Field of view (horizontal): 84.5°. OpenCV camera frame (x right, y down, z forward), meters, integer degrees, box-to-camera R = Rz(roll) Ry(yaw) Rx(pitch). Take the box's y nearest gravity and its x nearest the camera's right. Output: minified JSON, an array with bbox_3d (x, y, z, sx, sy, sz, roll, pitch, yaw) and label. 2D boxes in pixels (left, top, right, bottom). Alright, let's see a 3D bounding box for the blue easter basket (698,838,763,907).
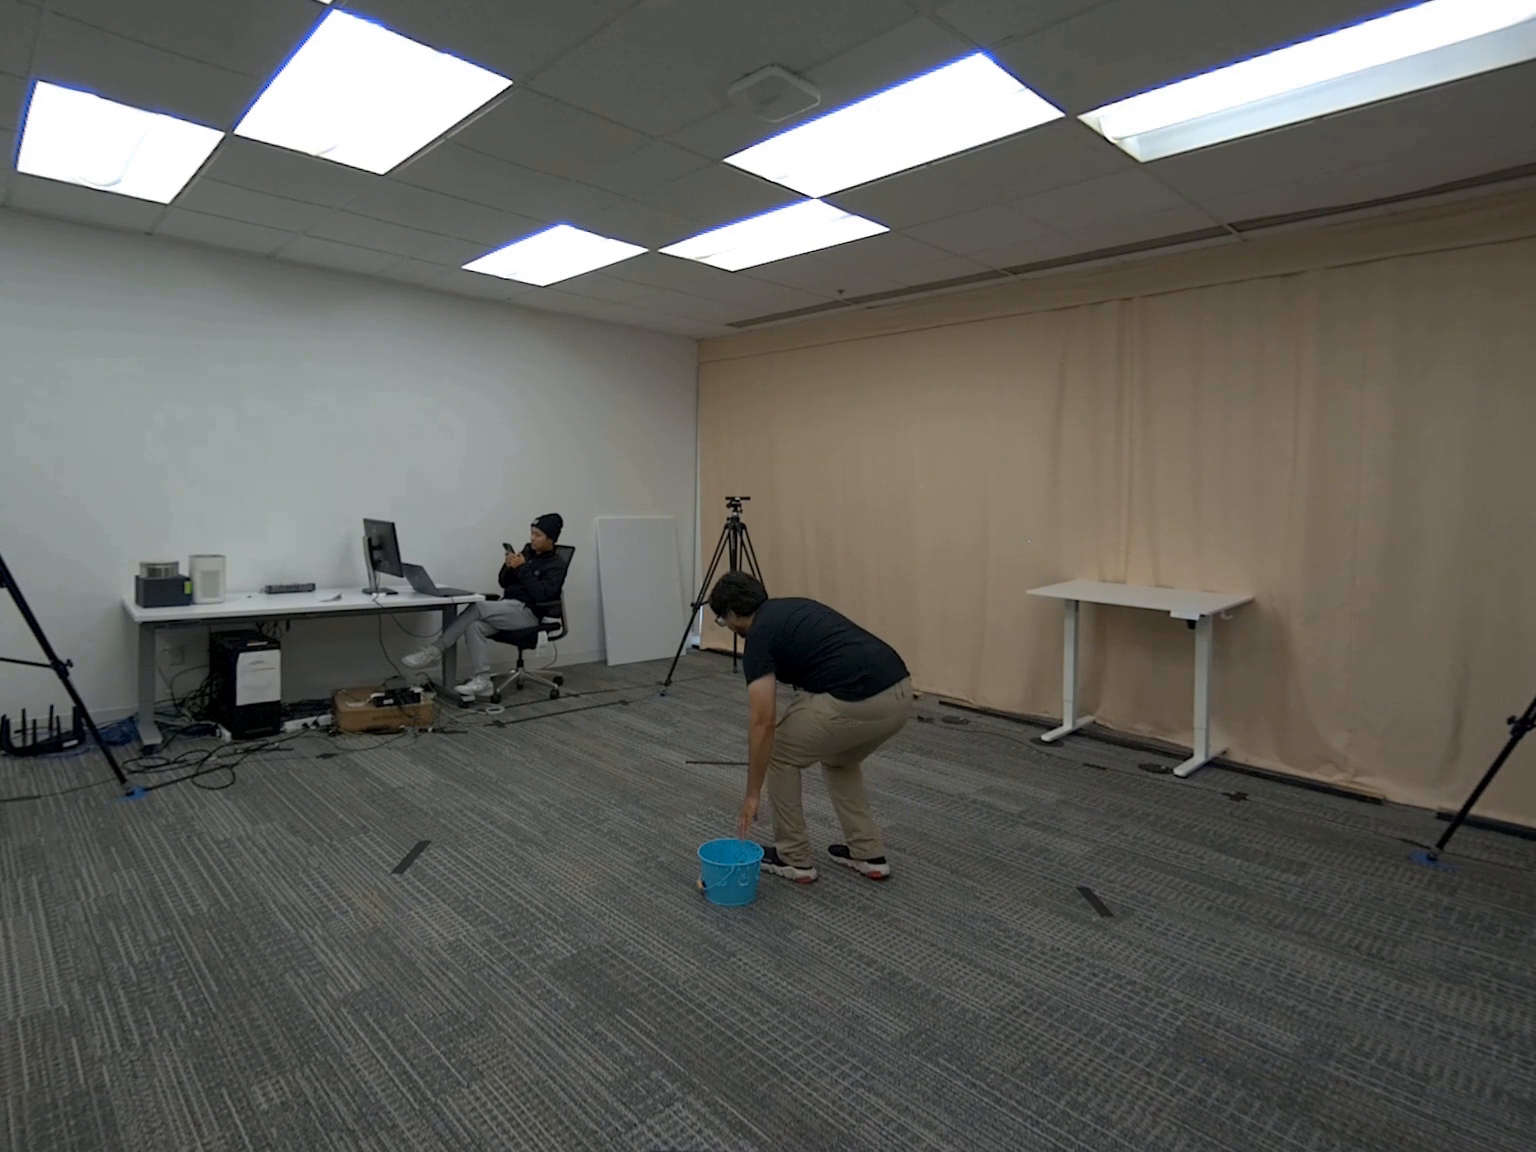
[{"bbox_3d":[-0.144,1.040,2.966,0.243,0.155,0.244,2,4,-1],"label":"blue easter basket"}]
